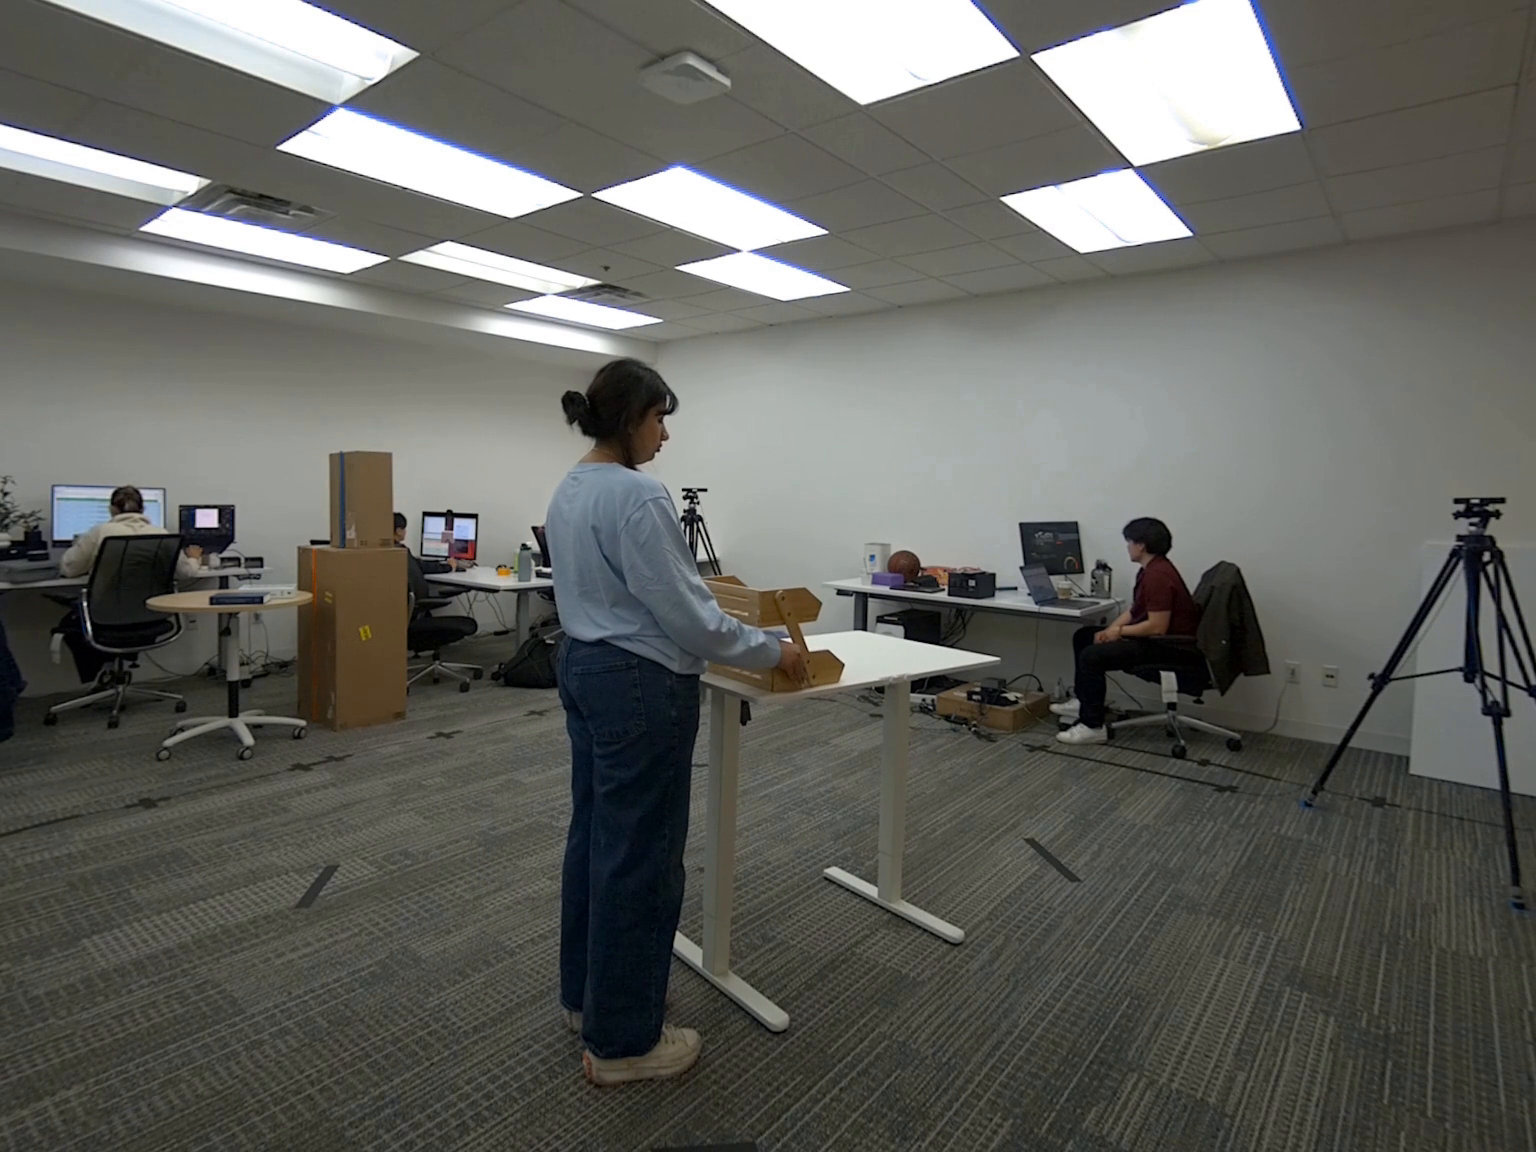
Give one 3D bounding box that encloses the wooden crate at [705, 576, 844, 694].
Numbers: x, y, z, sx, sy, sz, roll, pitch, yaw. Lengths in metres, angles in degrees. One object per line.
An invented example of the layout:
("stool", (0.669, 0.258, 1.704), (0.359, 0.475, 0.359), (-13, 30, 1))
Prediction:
("wooden crate", (-0.009, 0.140, 2.291), (0.293, 0.272, 0.336), (-3, 7, -38))
